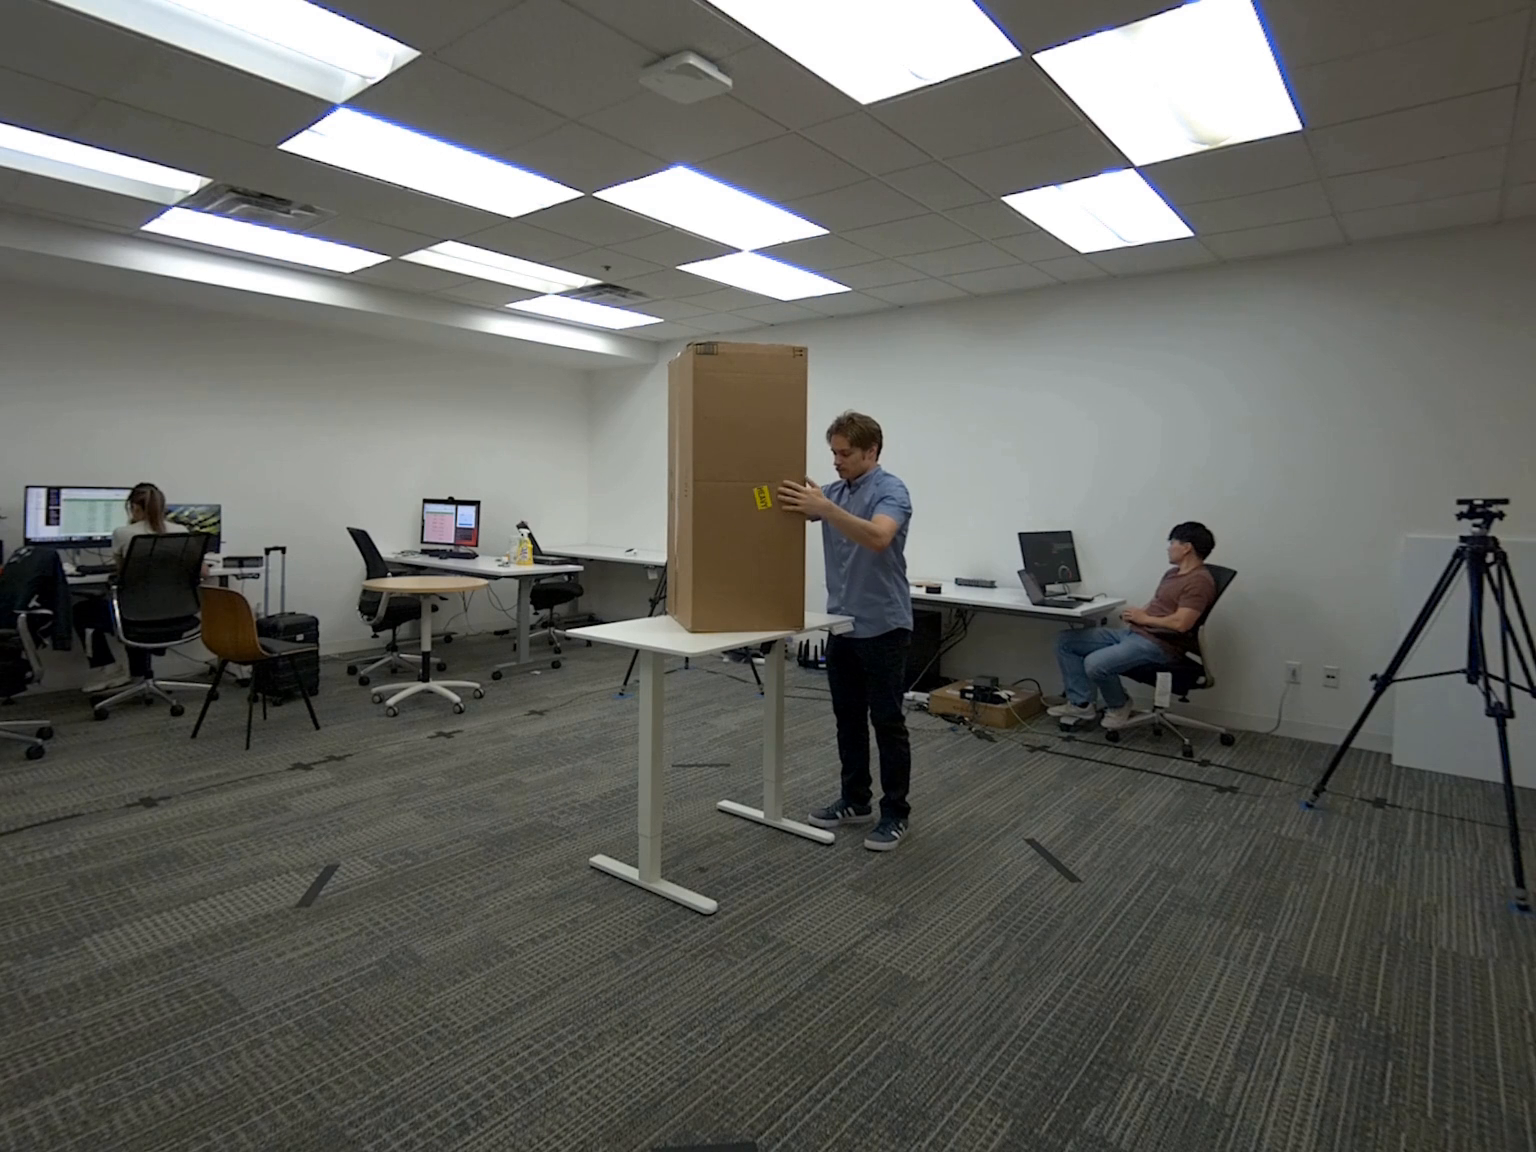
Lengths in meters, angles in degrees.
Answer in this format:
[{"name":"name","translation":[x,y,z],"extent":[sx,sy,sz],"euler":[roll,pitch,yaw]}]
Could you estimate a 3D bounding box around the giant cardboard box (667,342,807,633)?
[{"name":"giant cardboard box","translation":[-0.147,-0.340,3.286],"extent":[0.420,1.023,0.587],"euler":[0,3,-14]}]
